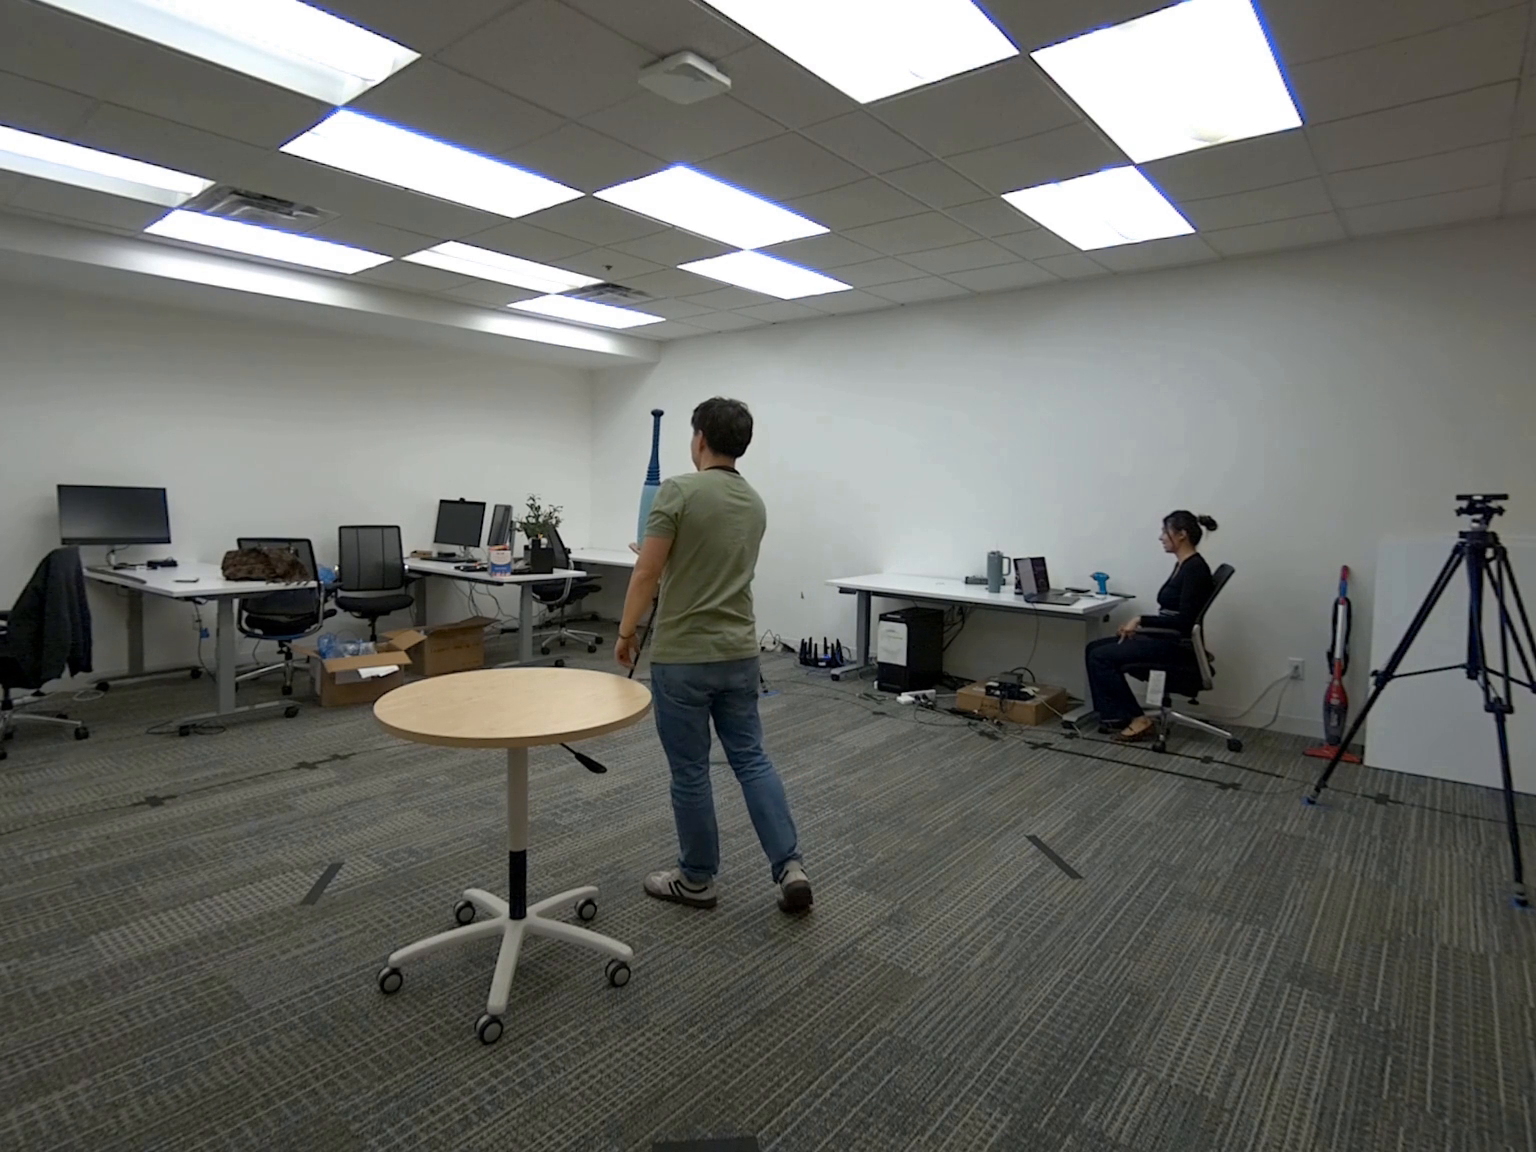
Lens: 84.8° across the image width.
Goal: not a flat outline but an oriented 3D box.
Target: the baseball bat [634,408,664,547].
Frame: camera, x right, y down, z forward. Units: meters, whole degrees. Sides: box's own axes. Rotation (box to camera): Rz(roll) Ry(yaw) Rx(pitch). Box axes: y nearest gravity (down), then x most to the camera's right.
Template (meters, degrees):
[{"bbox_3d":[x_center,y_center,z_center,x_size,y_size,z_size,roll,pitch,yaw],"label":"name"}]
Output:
[{"bbox_3d":[-0.452,-0.369,3.248,0.089,0.542,0.089,4,1,-2],"label":"baseball bat"}]
